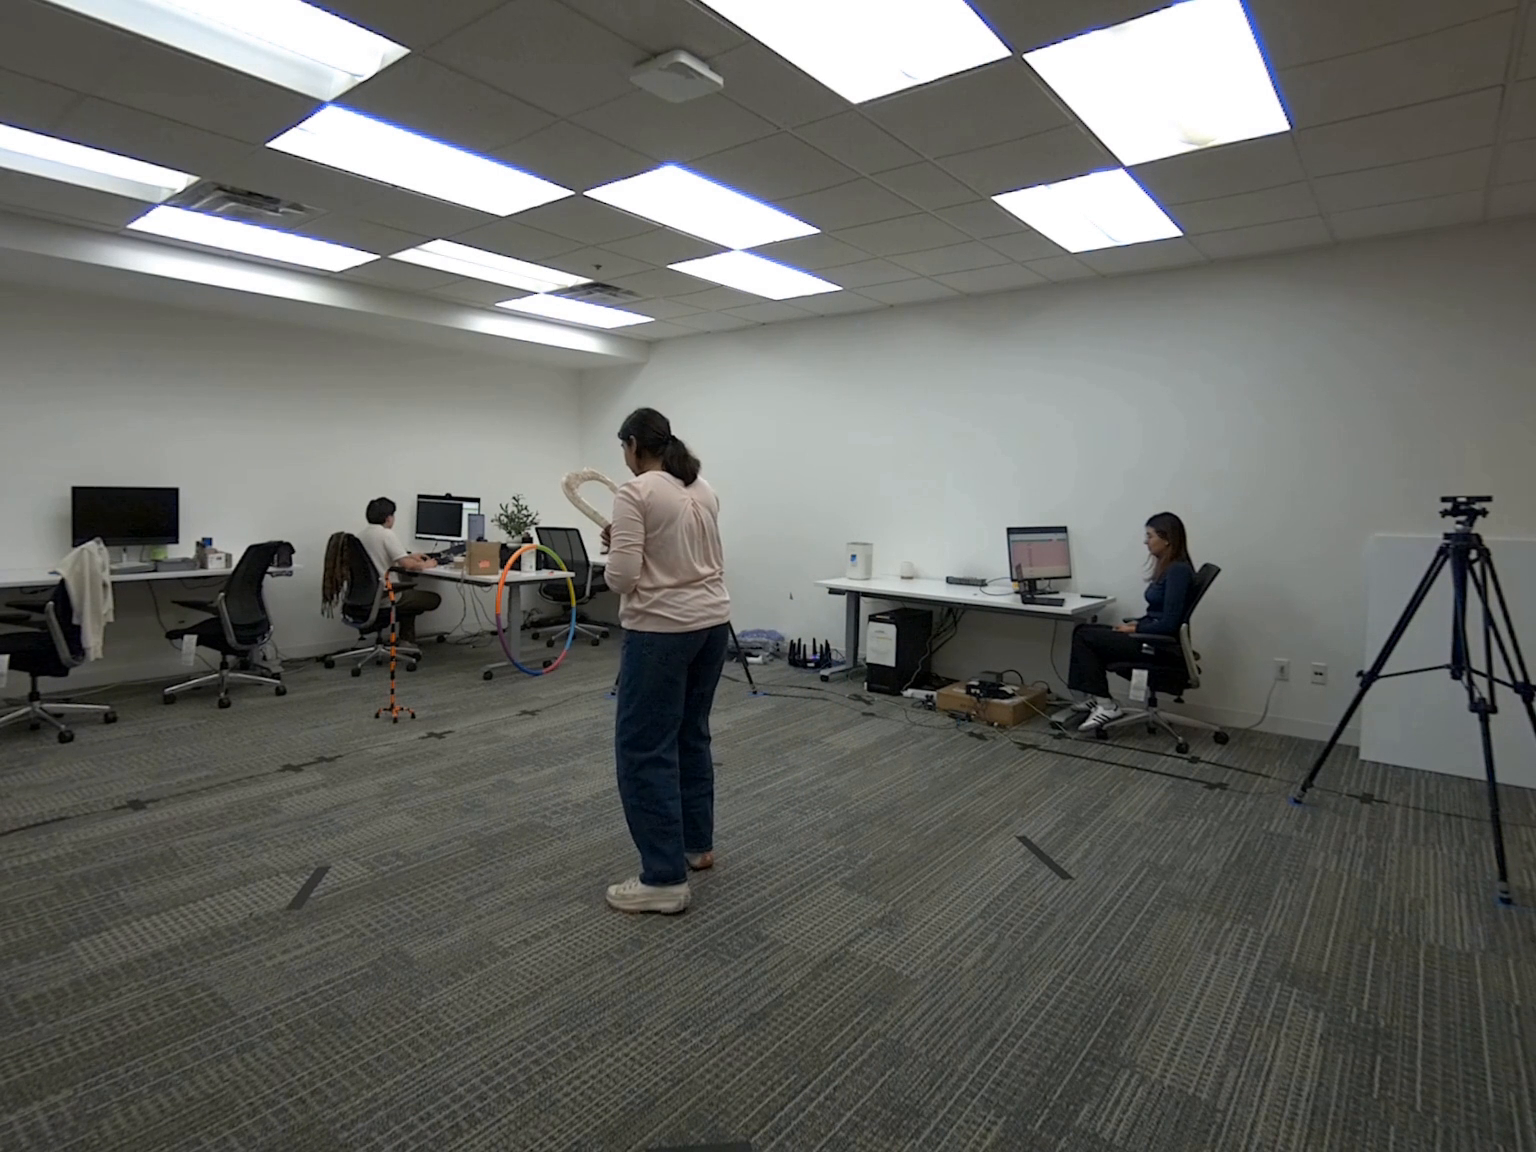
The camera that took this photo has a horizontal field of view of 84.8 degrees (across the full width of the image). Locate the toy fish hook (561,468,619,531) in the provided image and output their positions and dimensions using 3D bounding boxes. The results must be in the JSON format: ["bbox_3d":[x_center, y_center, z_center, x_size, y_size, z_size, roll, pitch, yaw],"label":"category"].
[{"bbox_3d":[-0.609,-0.233,3.228,0.221,0.523,0.047,-22,-28,-32],"label":"toy fish hook"}]
